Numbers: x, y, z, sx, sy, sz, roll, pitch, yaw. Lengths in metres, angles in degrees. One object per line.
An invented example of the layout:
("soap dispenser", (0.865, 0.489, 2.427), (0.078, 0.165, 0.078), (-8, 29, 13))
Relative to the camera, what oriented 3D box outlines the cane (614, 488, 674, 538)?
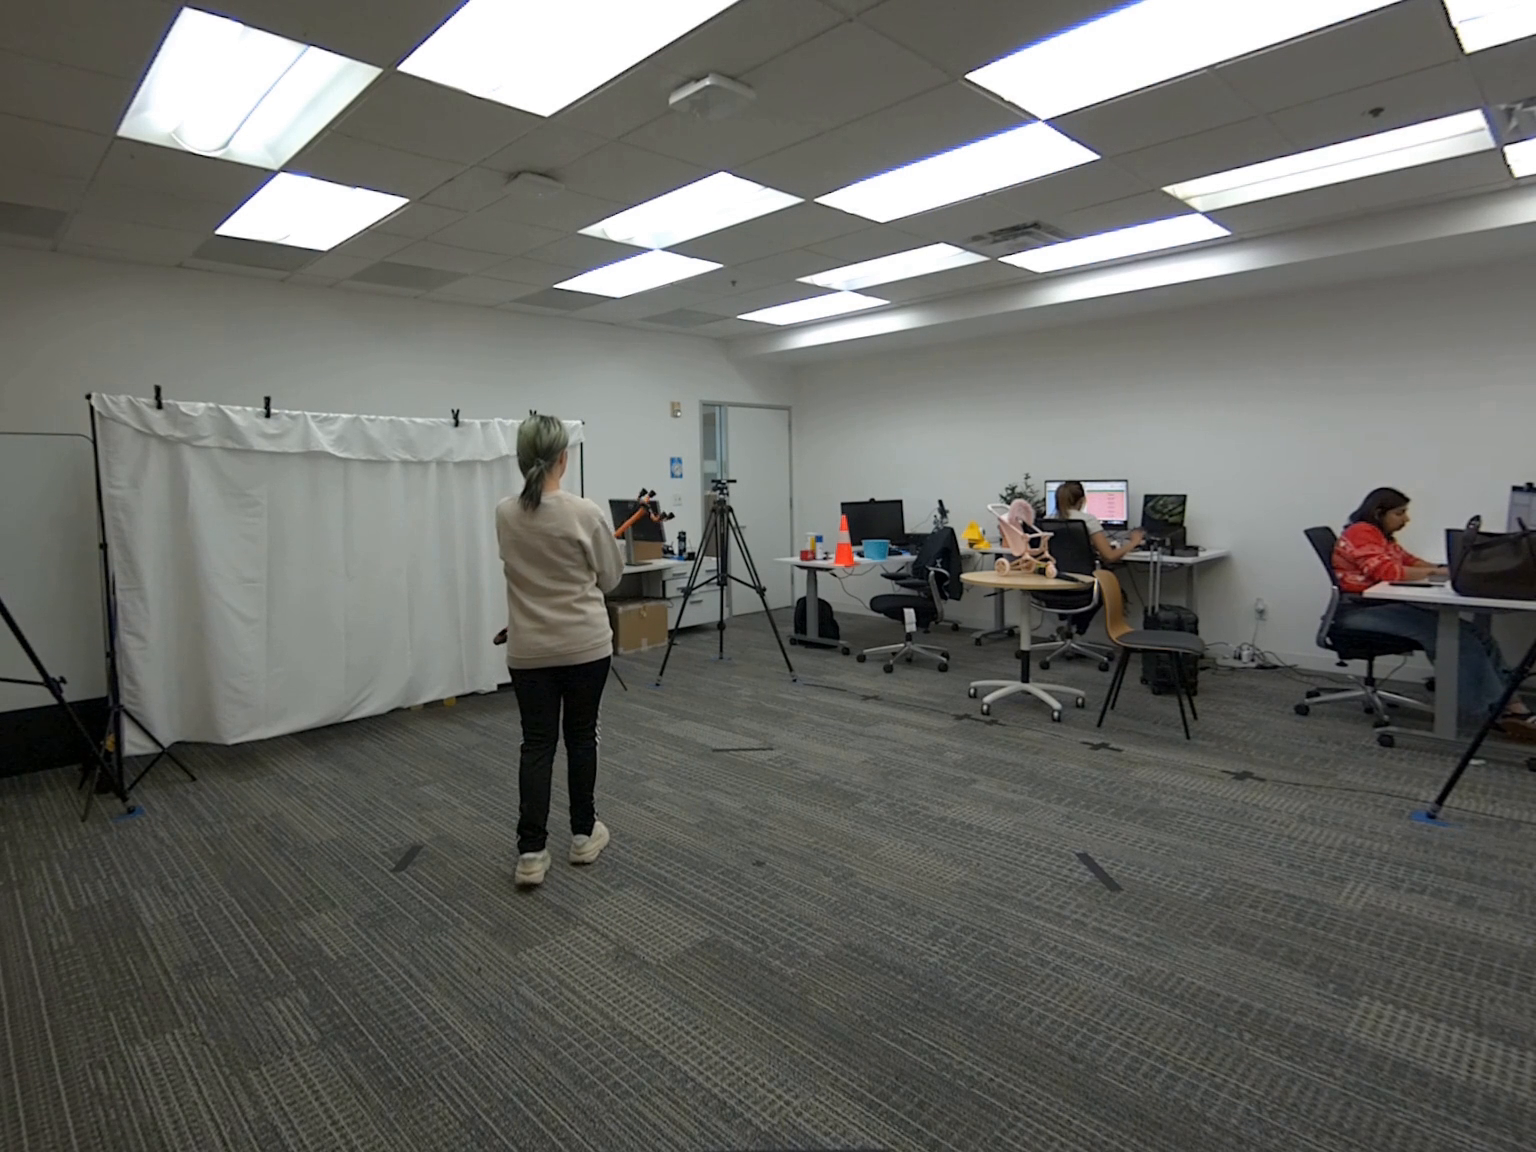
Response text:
("cane", (-0.776, 0.000, 3.507), (0.908, 0.152, 0.206), (-42, -1, 4))
